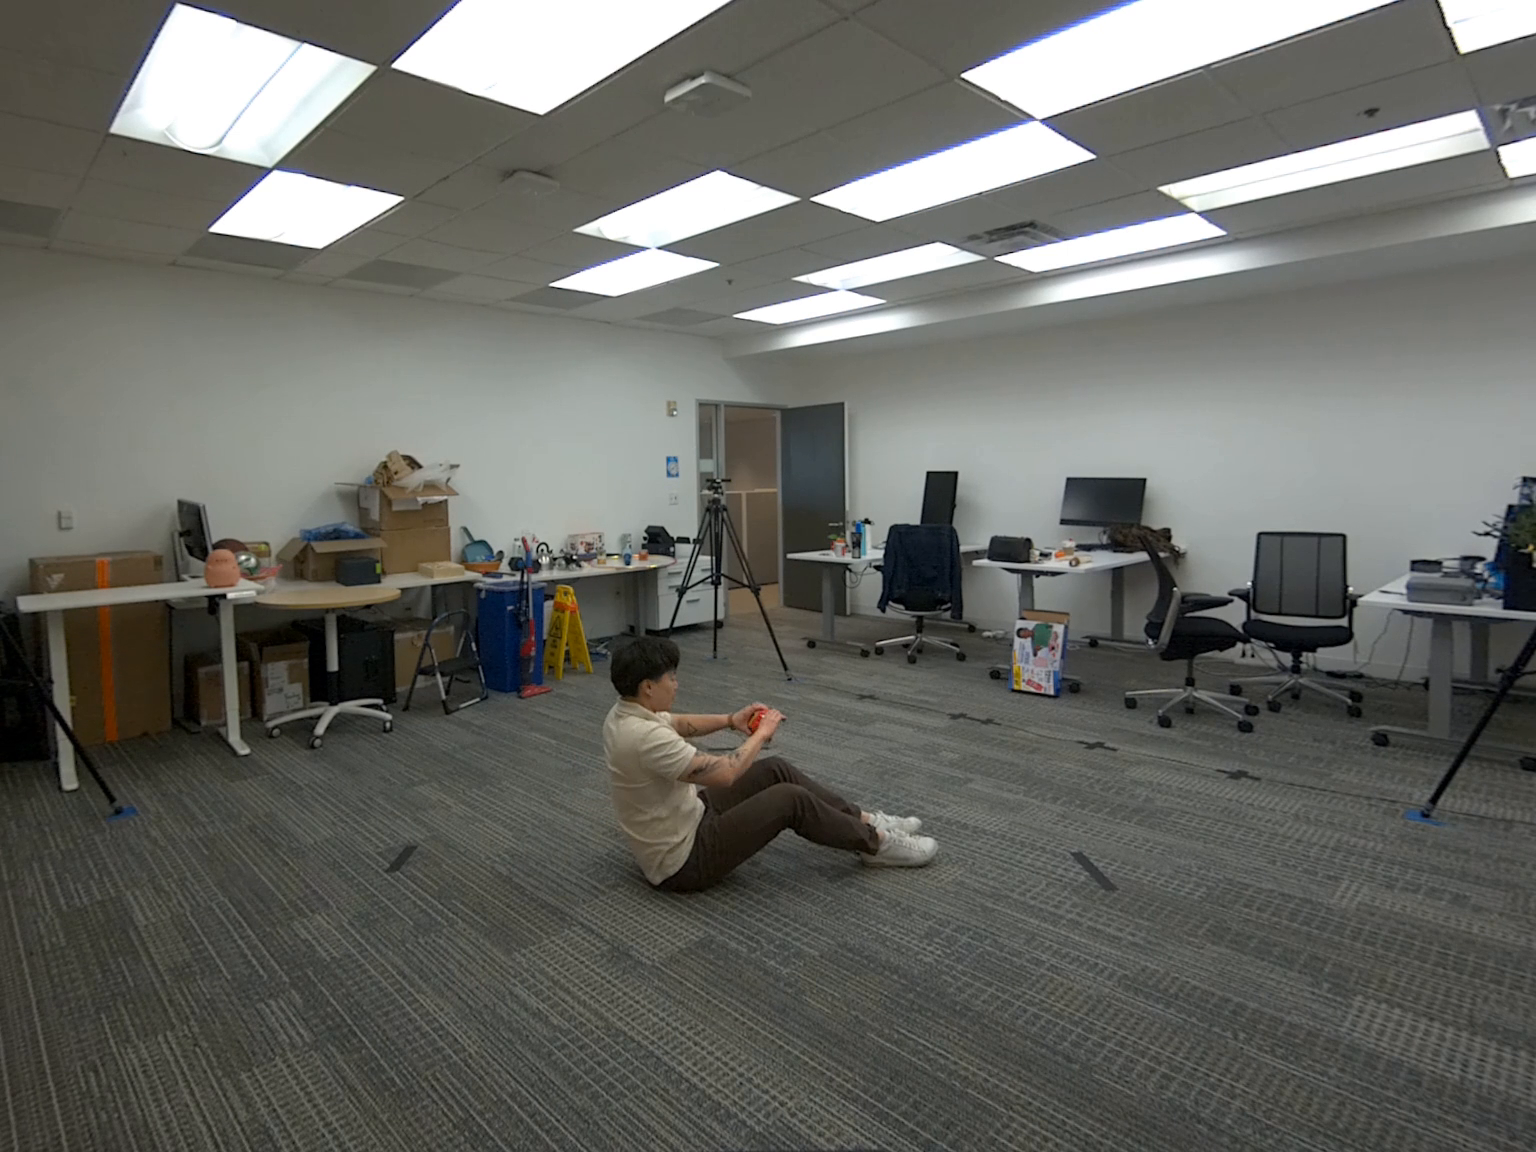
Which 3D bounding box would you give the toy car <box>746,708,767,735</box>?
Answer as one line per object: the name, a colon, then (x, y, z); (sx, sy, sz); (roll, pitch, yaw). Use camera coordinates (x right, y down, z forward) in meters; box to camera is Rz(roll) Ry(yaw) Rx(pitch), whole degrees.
toy car: (-0.021, 0.555, 3.180); (0.082, 0.131, 0.256); (27, -10, -10)
